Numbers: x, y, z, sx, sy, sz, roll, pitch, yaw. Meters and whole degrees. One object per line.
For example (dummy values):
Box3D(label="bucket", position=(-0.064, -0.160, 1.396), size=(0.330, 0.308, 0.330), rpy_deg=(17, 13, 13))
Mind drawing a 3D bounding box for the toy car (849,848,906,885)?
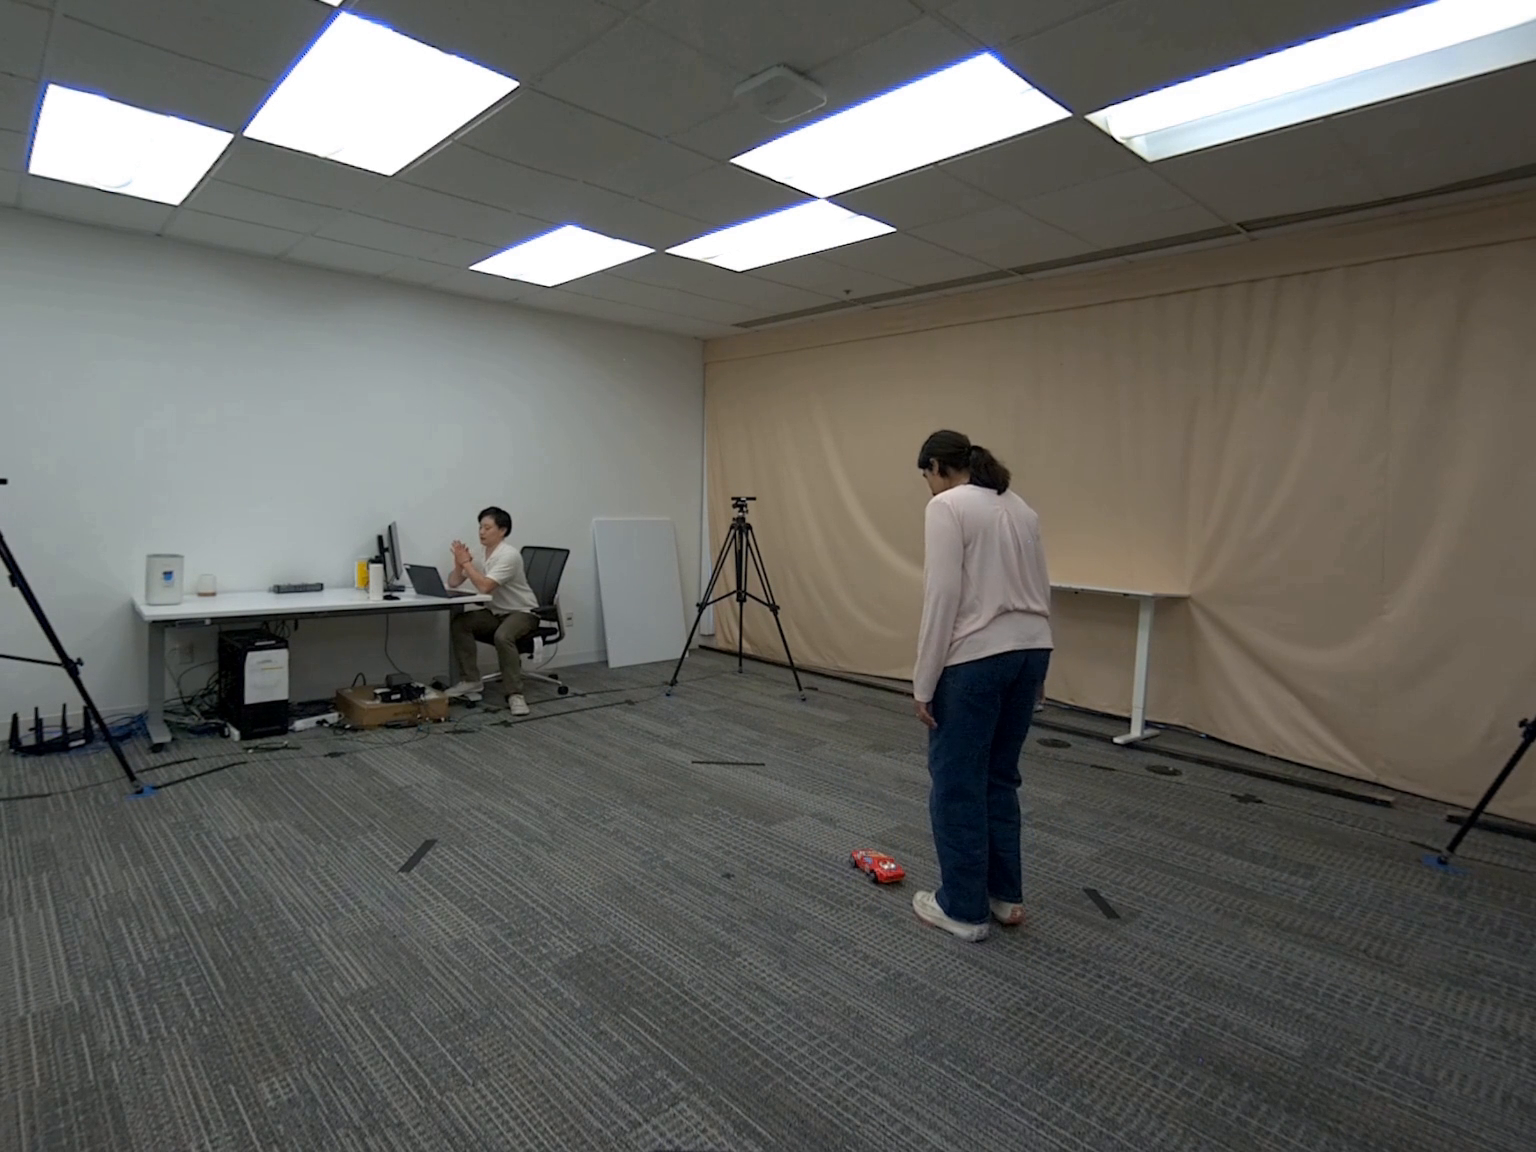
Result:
Box3D(label="toy car", position=(0.404, 1.085, 3.136), size=(0.128, 0.083, 0.258), rpy_deg=(1, -6, -24))
